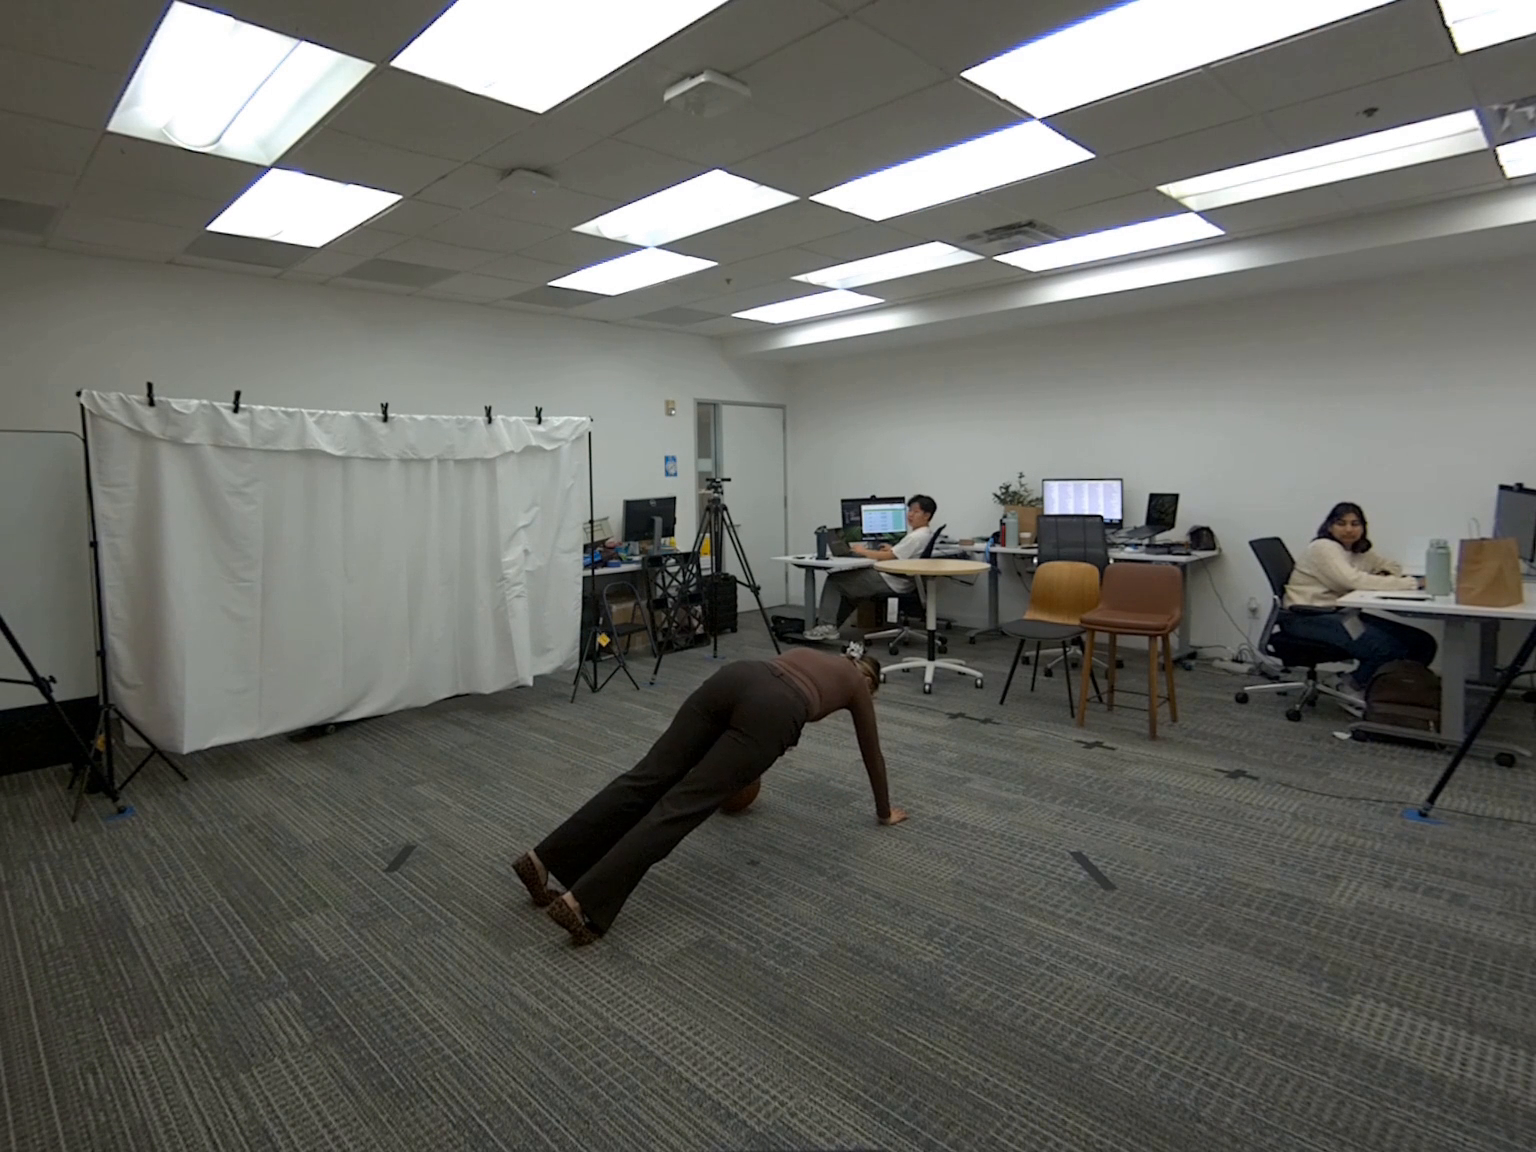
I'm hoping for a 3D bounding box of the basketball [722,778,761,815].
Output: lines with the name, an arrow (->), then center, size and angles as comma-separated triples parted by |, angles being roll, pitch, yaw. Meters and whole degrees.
basketball -> -0.146, 0.863, 3.624 | 0.236, 0.235, 0.237 | -1, 5, -2
